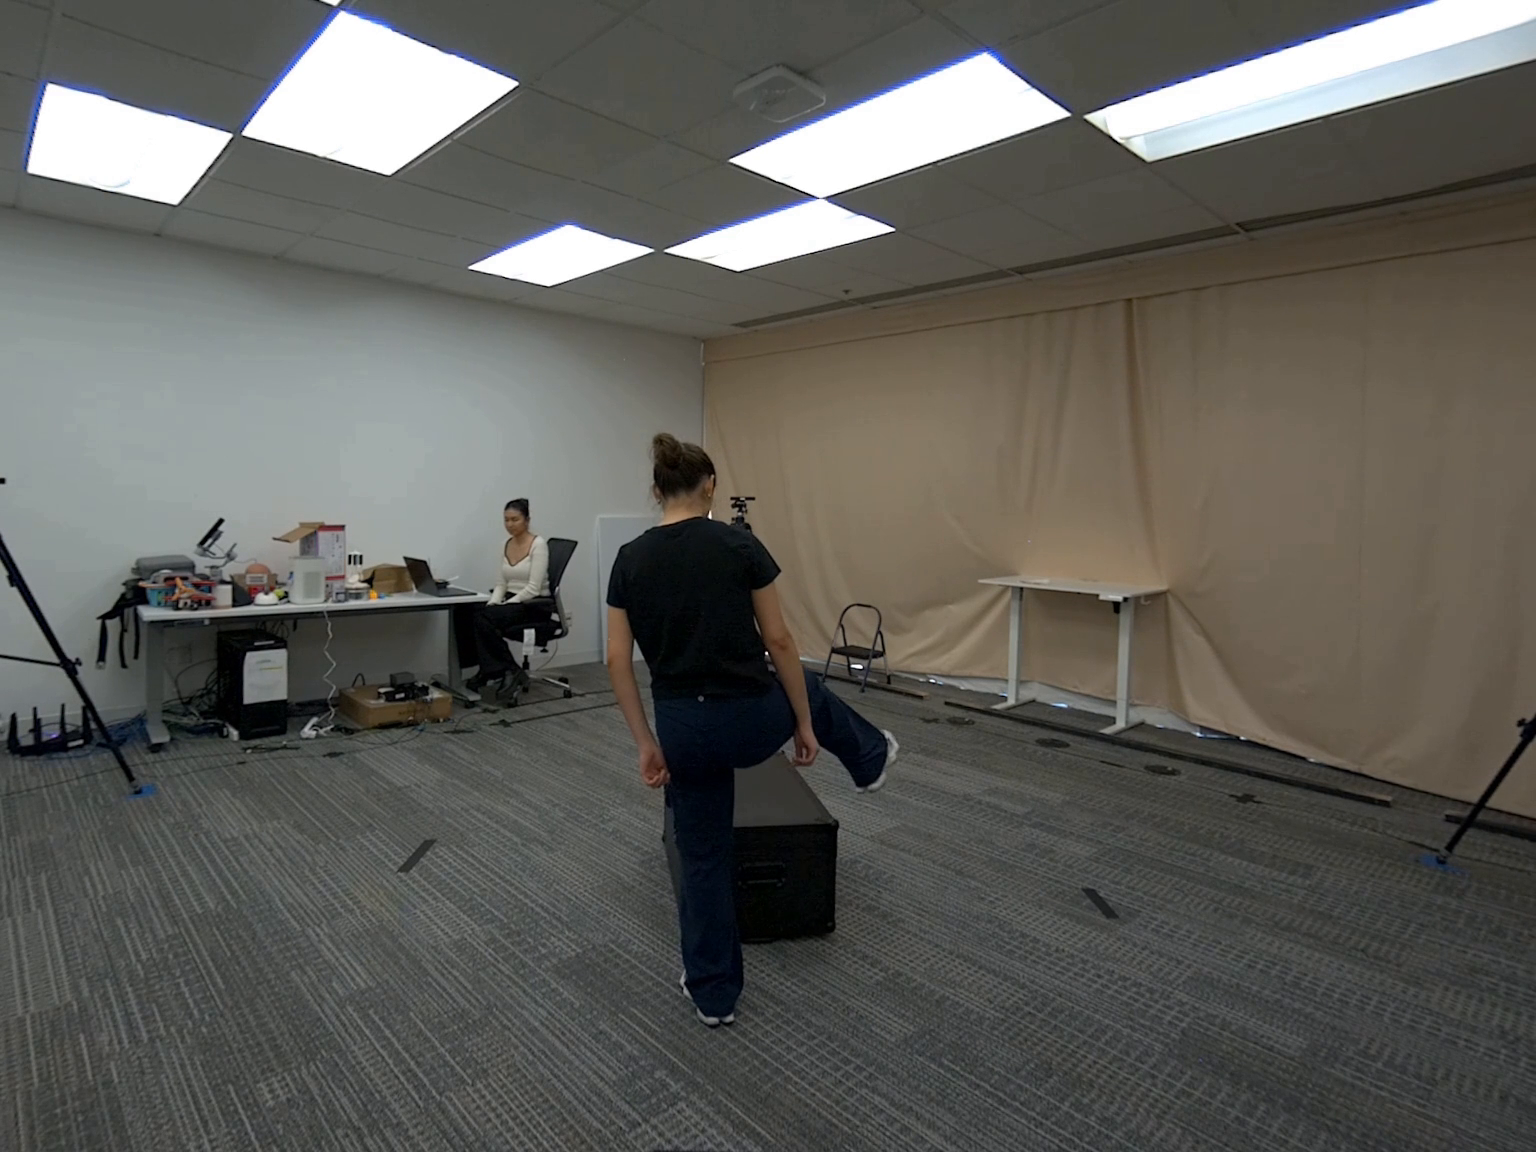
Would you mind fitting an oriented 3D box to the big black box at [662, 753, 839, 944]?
[{"bbox_3d":[-0.106,0.920,3.017,0.516,0.395,0.872,1,5,-12],"label":"big black box"}]
